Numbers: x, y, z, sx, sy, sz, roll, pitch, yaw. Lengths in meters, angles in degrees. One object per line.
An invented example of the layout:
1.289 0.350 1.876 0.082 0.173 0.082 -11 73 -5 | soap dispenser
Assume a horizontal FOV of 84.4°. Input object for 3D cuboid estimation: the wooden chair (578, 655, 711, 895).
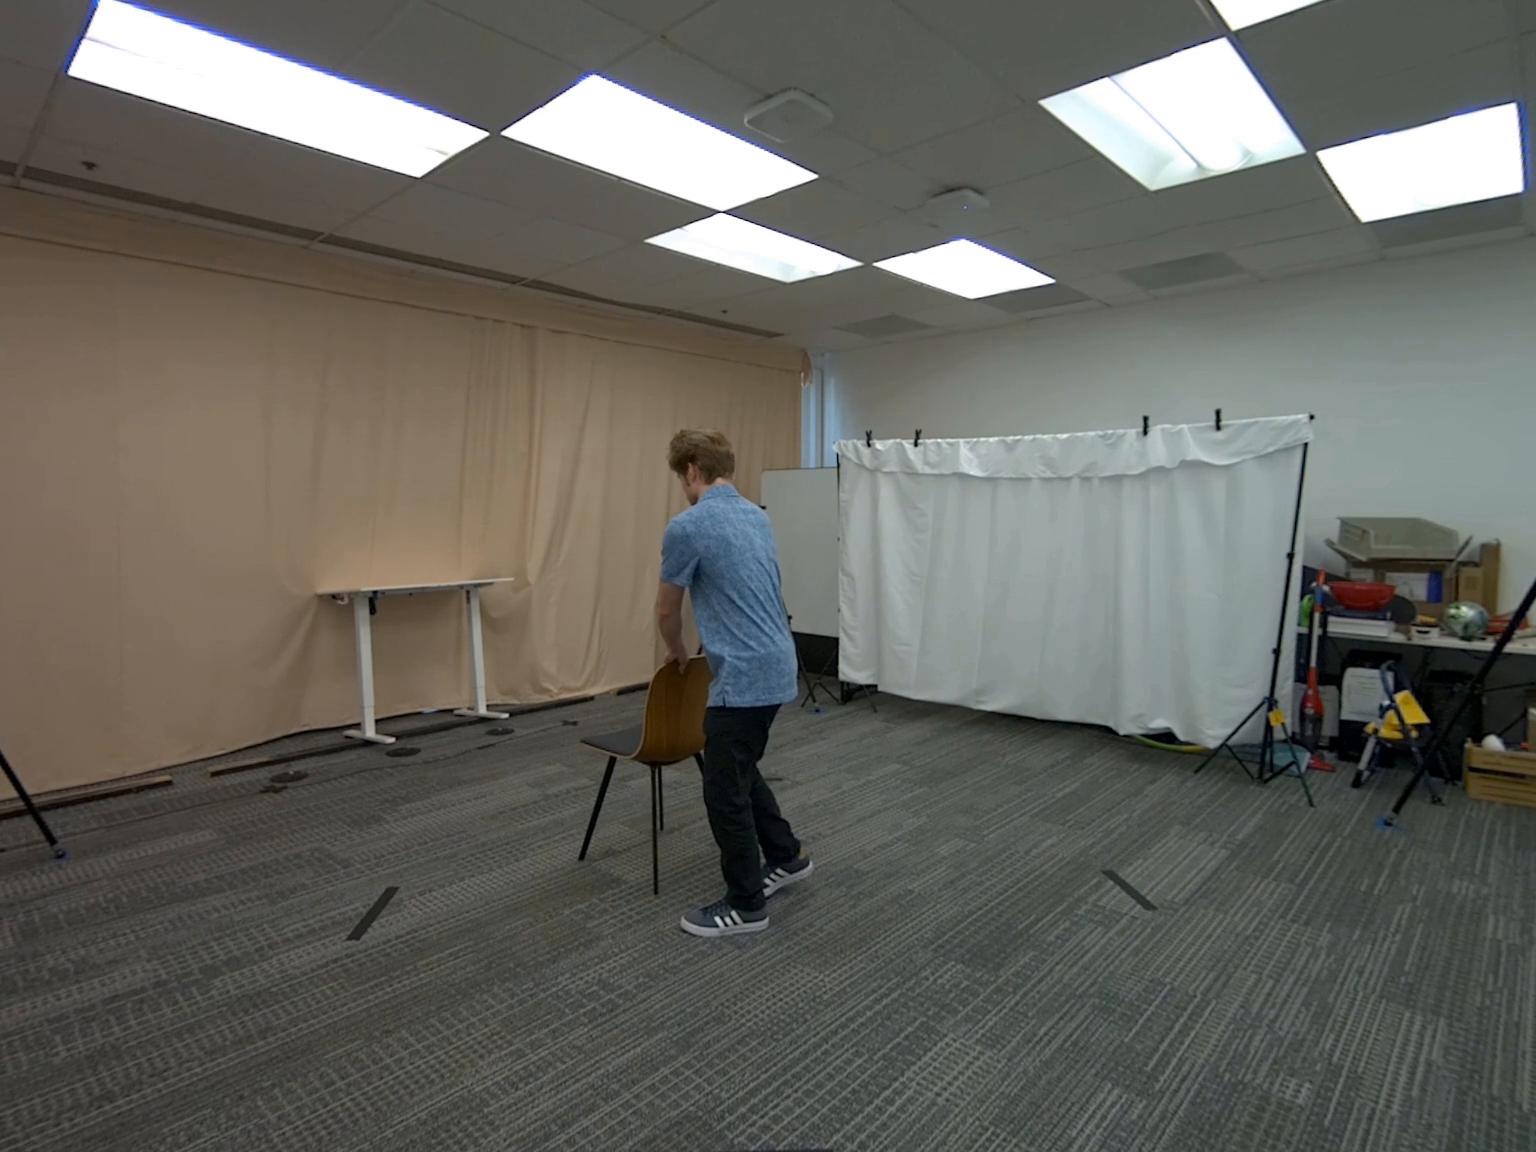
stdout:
-0.441 0.690 3.308 0.541 0.874 0.463 8 8 41 | wooden chair
